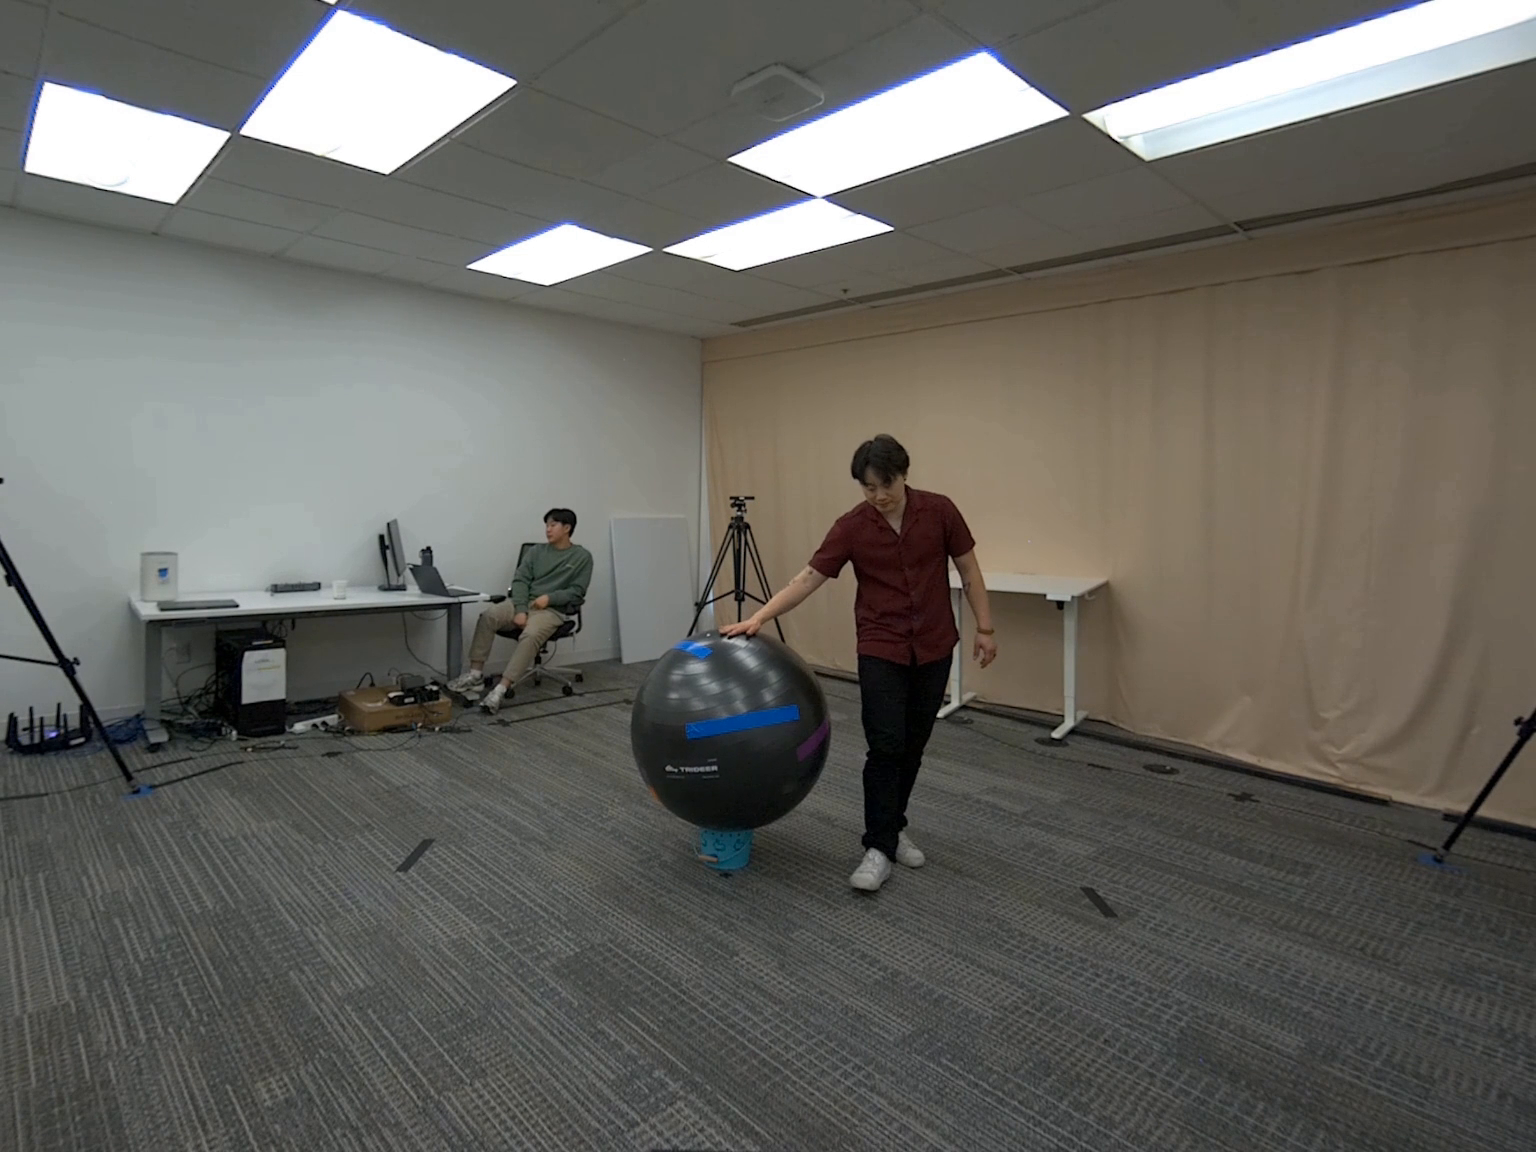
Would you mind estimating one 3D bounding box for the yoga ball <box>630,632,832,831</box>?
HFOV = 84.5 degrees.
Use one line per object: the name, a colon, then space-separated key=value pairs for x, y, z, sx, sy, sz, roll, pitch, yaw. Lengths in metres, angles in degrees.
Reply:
yoga ball: x=-0.155 y=0.583 z=3.212 sx=0.757 sy=0.756 sz=0.761 roll=1 pitch=4 yaw=-1
